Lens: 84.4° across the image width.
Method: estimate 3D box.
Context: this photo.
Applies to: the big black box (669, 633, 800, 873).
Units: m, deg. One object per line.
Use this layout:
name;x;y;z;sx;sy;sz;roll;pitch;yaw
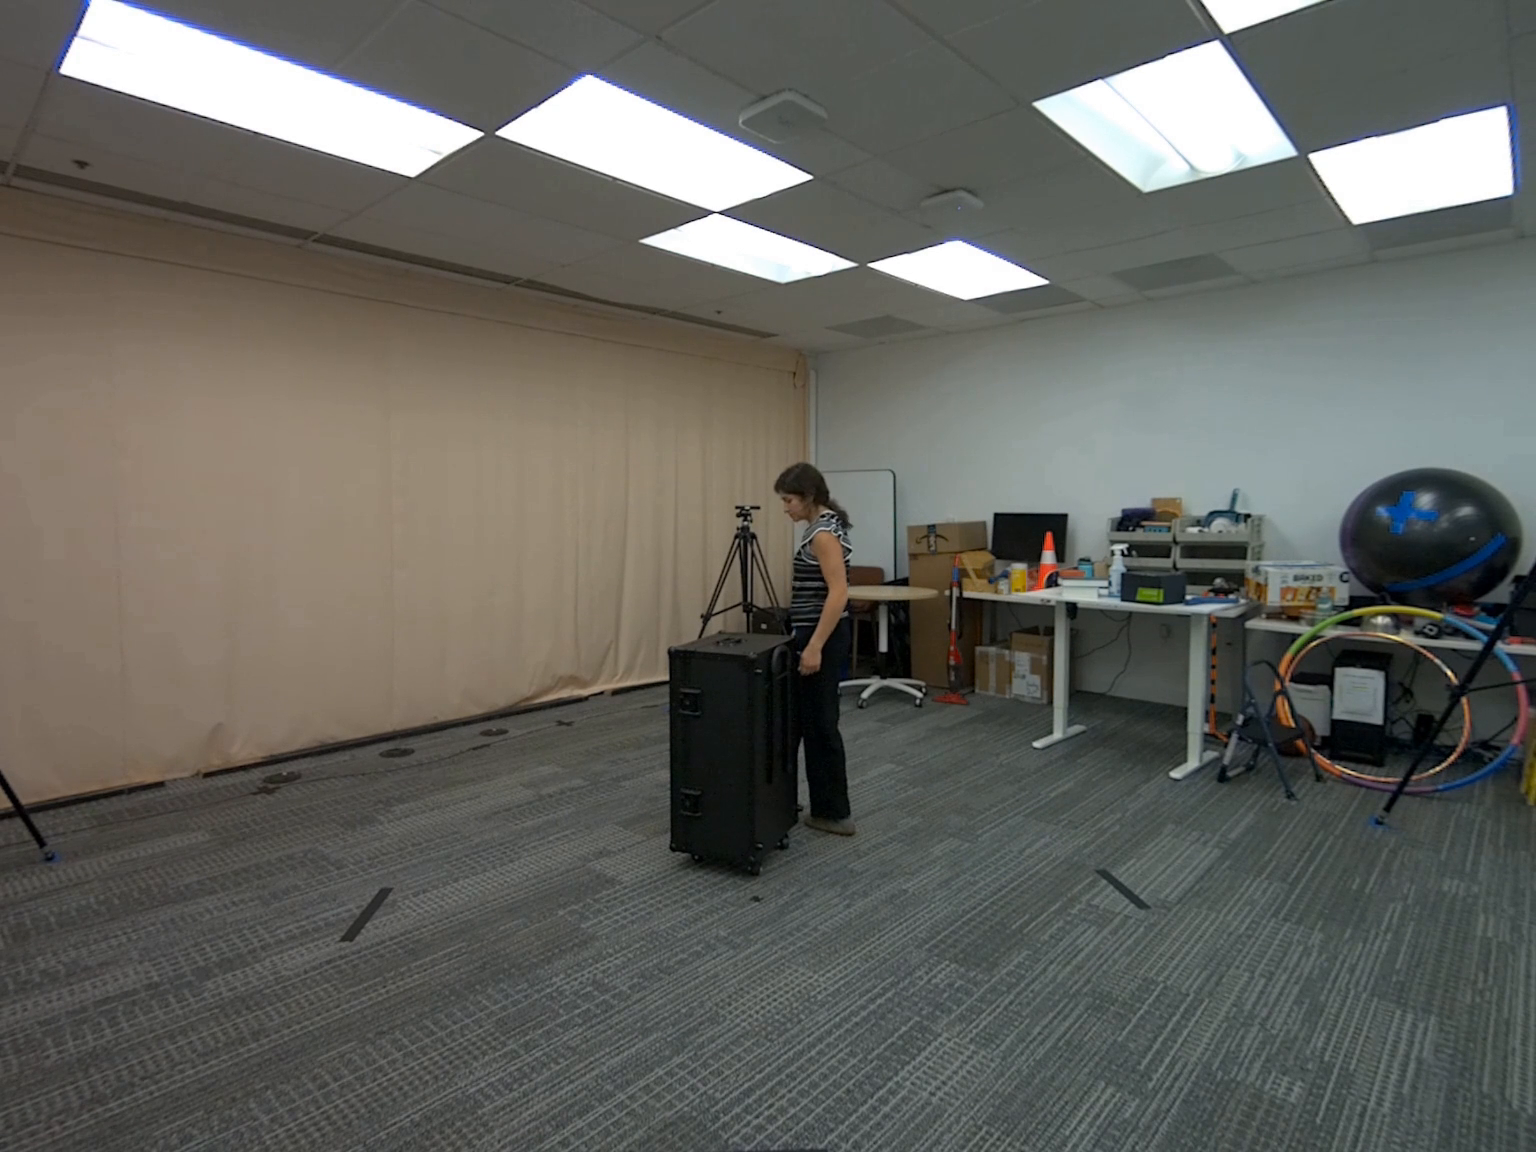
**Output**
big black box;-0.119;0.686;3.357;0.406;0.860;0.509;2;2;22
